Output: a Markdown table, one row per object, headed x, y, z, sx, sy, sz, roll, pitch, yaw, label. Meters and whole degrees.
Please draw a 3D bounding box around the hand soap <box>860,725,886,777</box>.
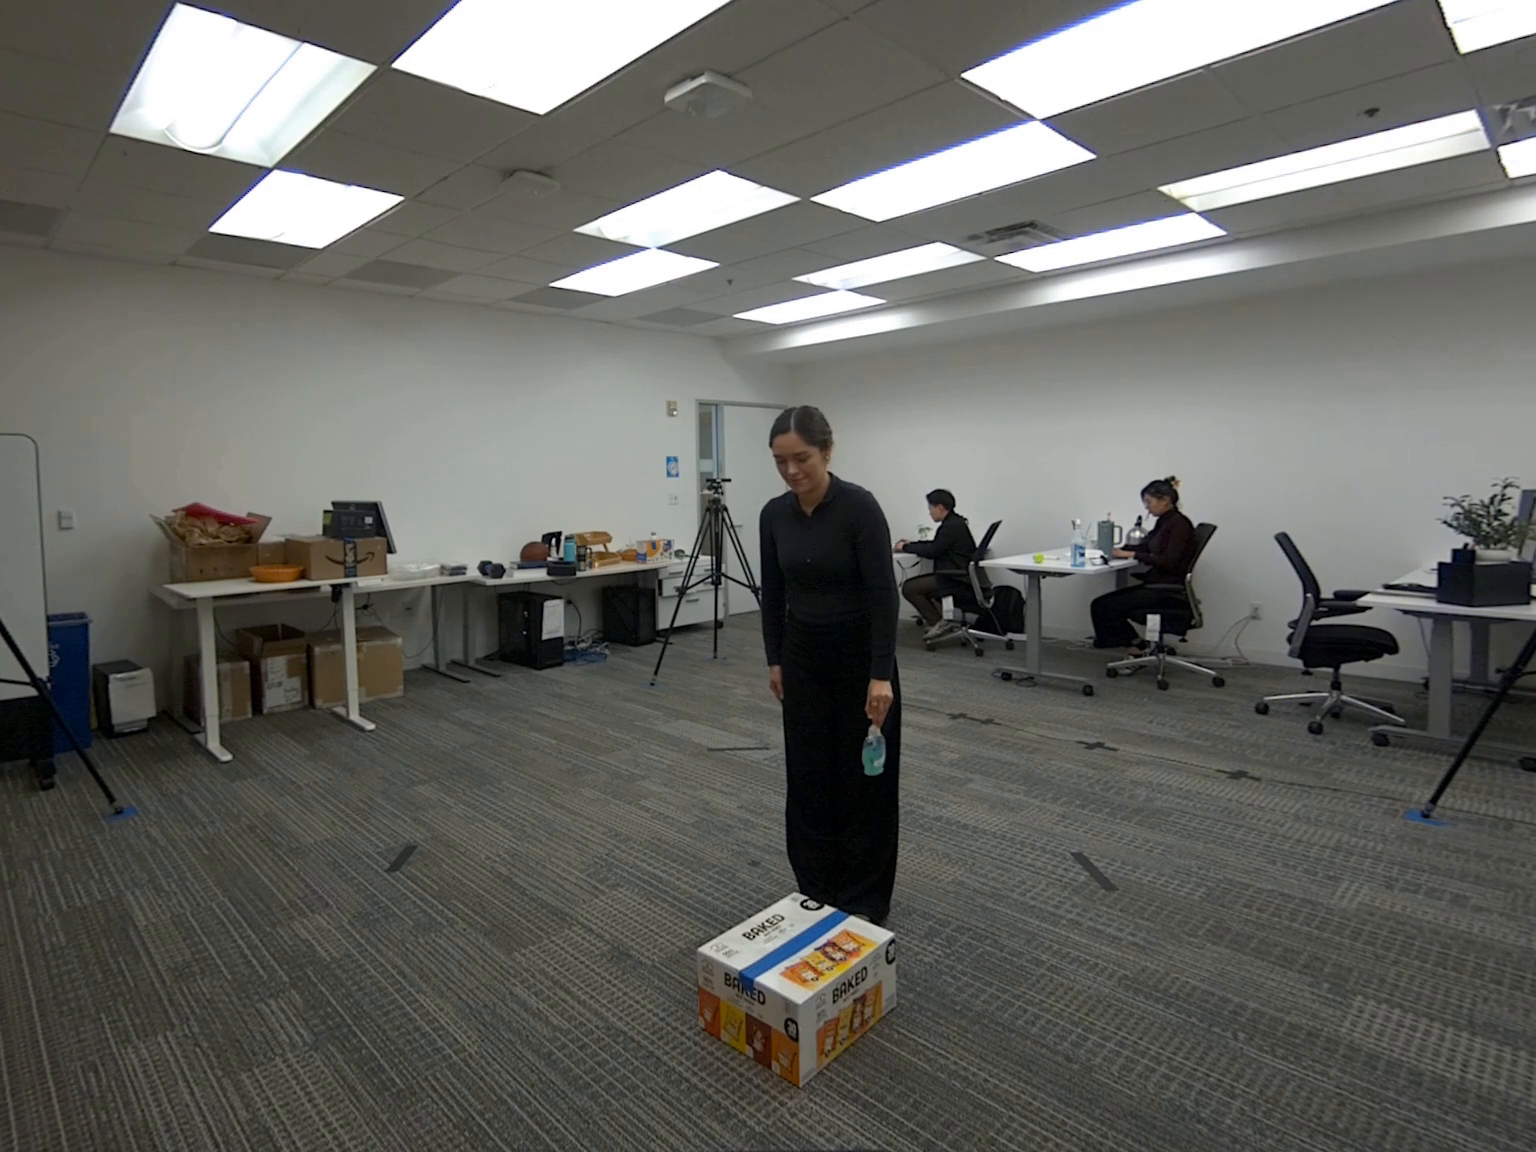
| x | y | z | sx | sy | sz | roll | pitch | yaw | label |
| --- | --- | --- | --- | --- | --- | --- | --- | --- | --- |
| 0.298 | 0.476 | 2.400 | 0.045 | 0.167 | 0.082 | 8 | 10 | 42 | hand soap |
